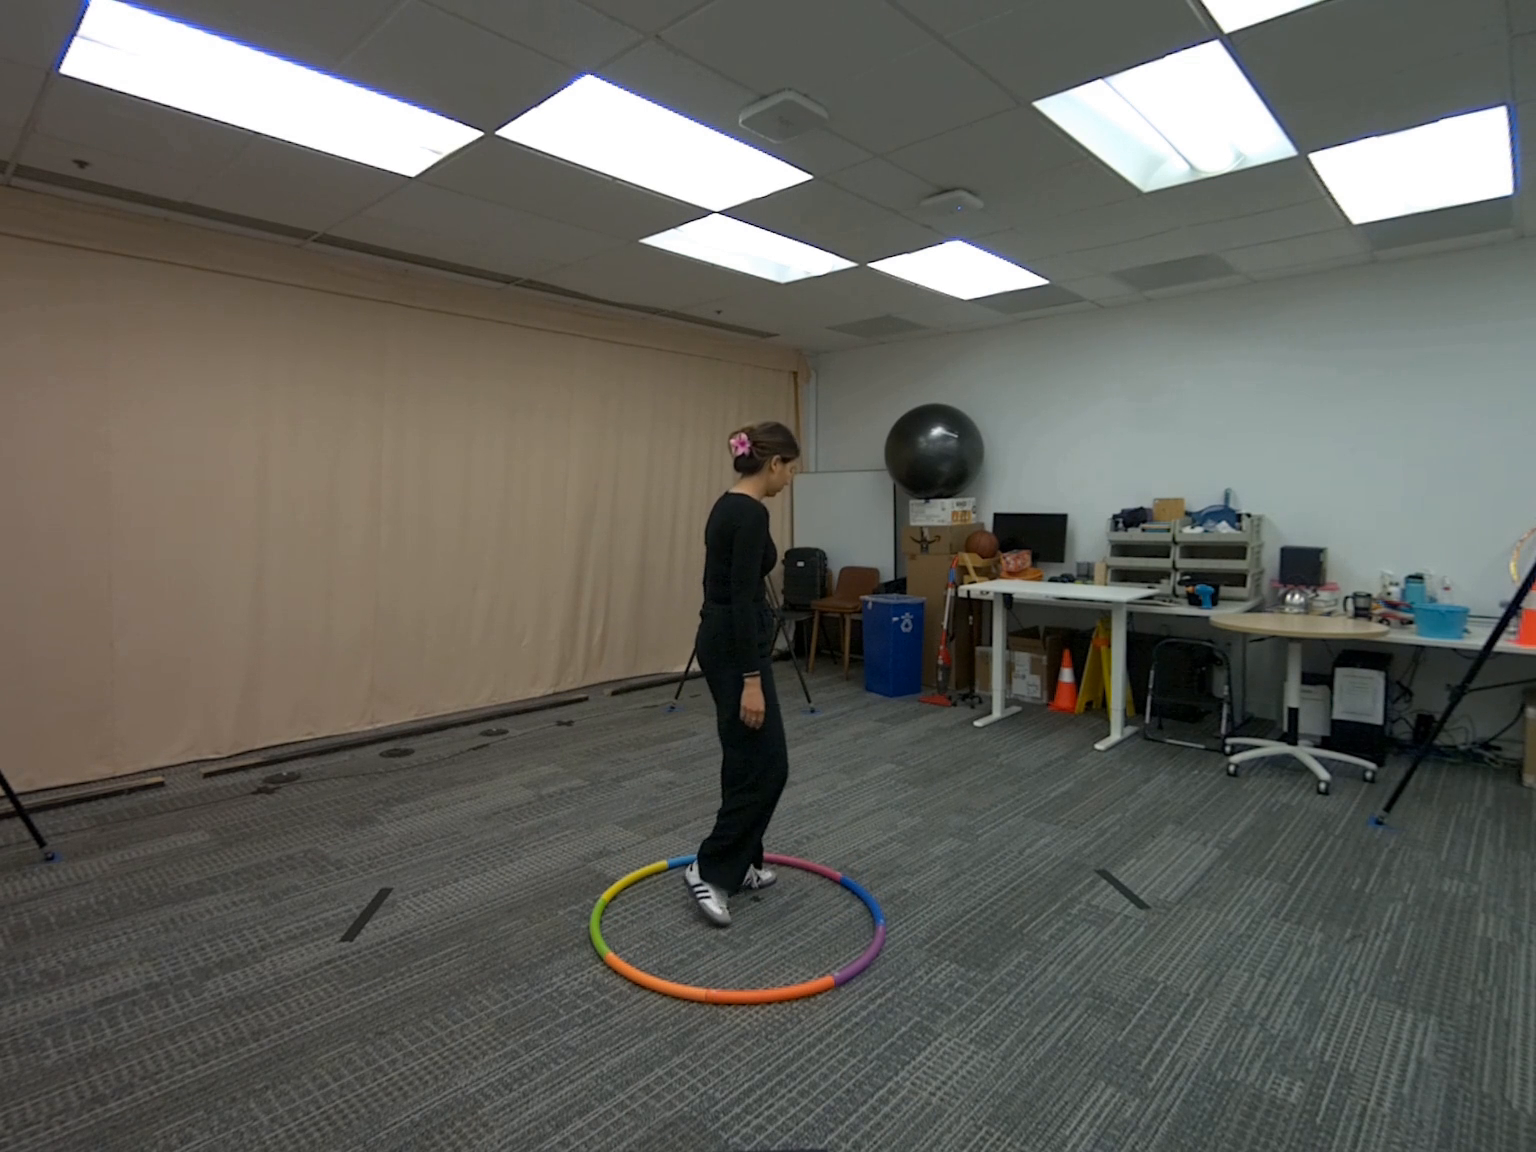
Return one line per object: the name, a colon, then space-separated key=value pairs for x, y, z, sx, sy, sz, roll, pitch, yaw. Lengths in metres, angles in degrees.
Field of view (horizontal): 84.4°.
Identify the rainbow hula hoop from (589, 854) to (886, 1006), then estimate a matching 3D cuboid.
rainbow hula hoop: x=-0.101 y=1.129 z=2.833 sx=0.978 sy=0.035 sz=0.982 roll=0 pitch=5 yaw=-2
